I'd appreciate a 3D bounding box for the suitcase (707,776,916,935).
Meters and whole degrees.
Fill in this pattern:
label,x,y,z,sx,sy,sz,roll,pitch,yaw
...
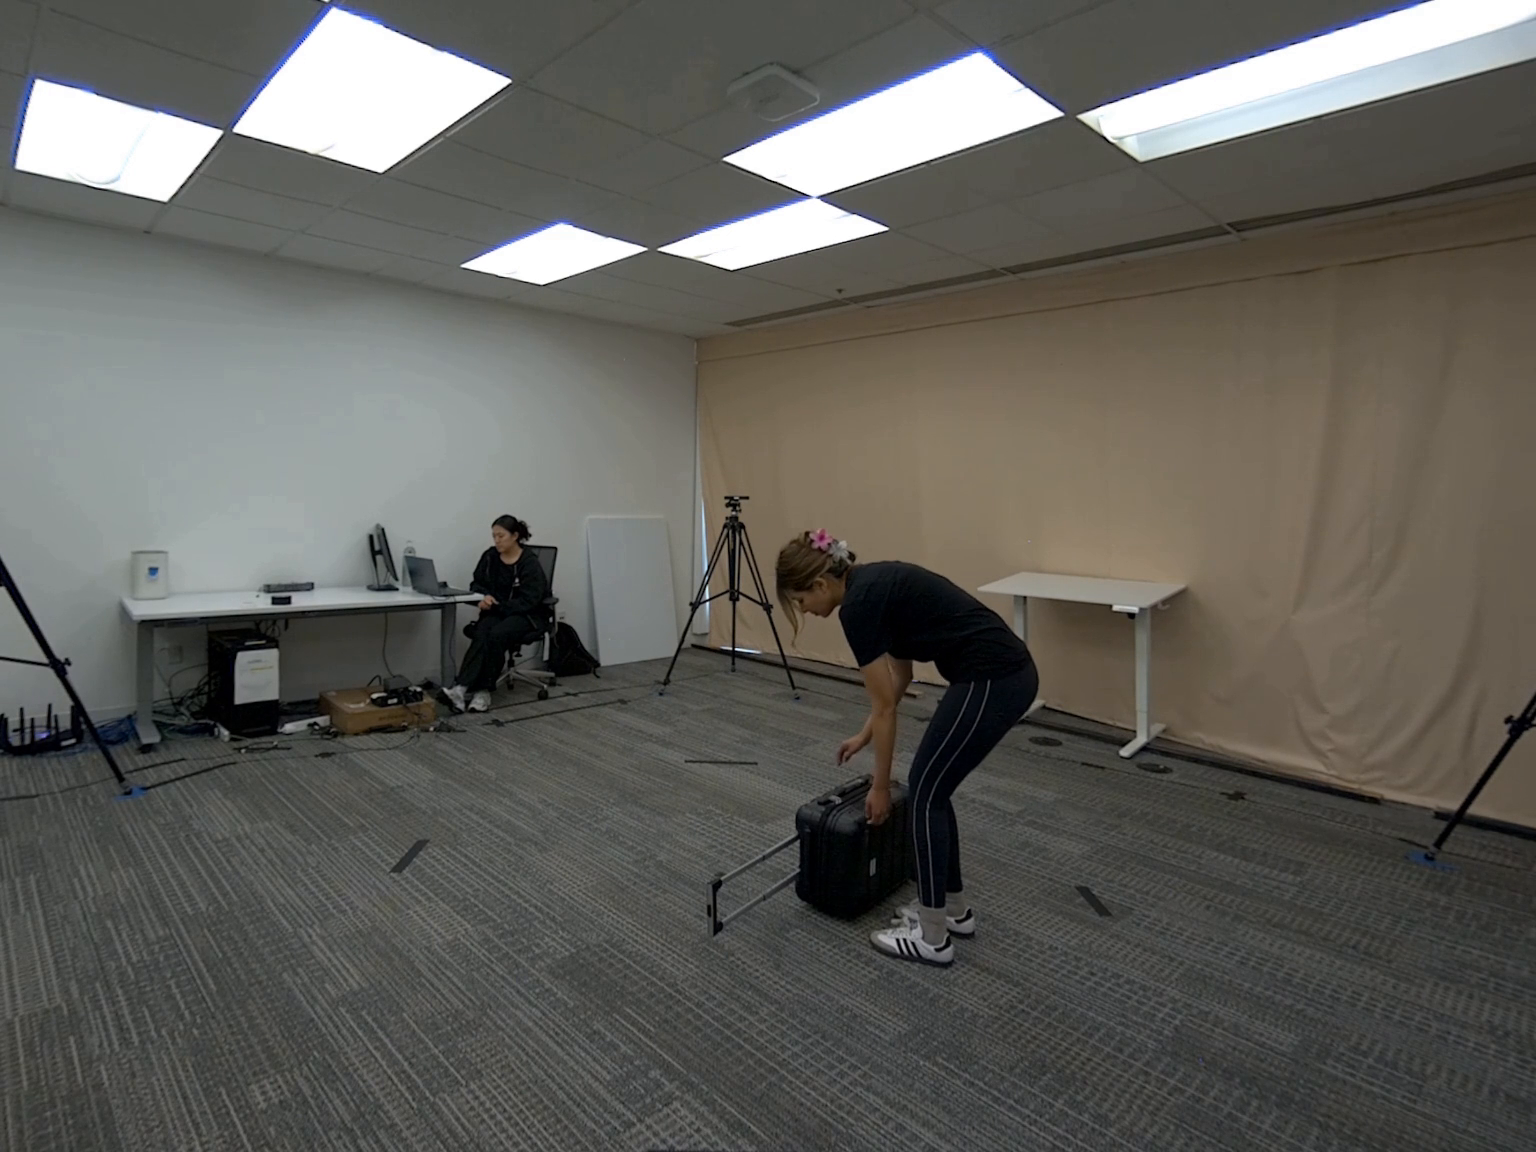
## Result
label,x,y,z,sx,sy,sz,roll,pitch,yaw
suitcase,0.200,0.951,2.814,0.263,0.383,0.958,4,5,36
